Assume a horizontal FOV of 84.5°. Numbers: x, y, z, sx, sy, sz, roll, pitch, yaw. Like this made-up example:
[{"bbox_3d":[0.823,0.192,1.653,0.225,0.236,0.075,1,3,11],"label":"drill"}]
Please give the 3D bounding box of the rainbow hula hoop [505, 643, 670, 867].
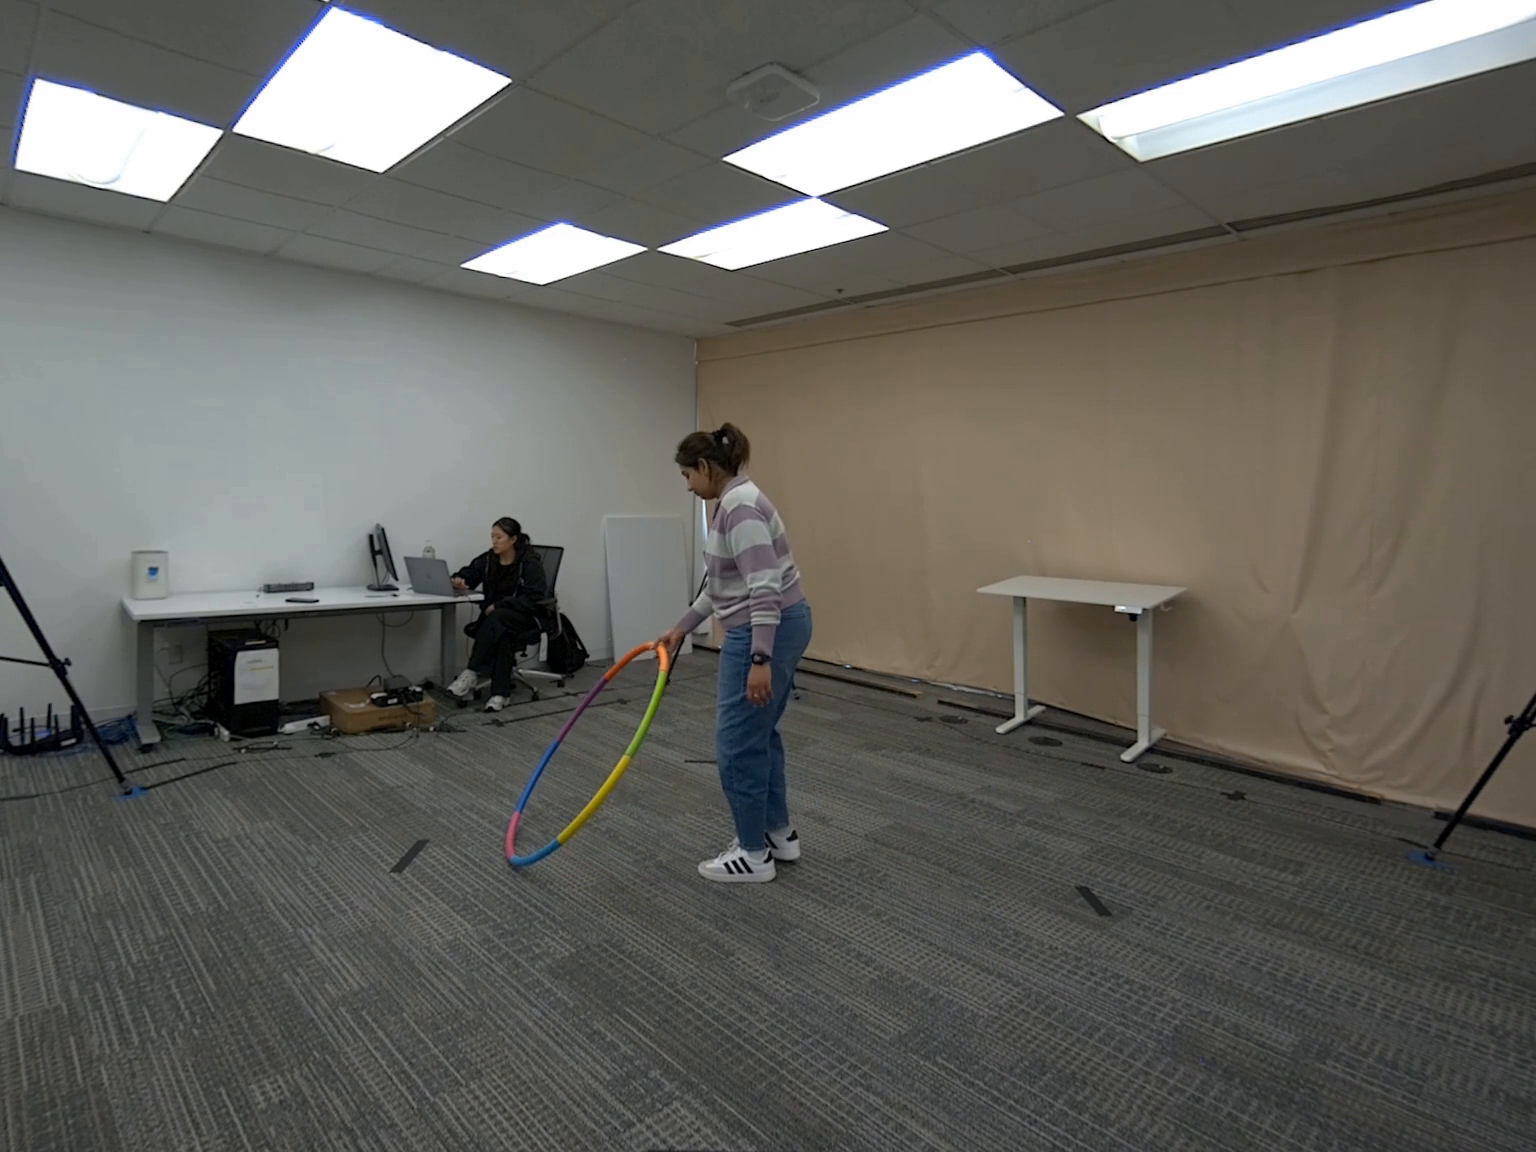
[{"bbox_3d":[-0.720,0.675,3.311,0.035,0.979,0.996,39,-8,-19],"label":"rainbow hula hoop"}]
